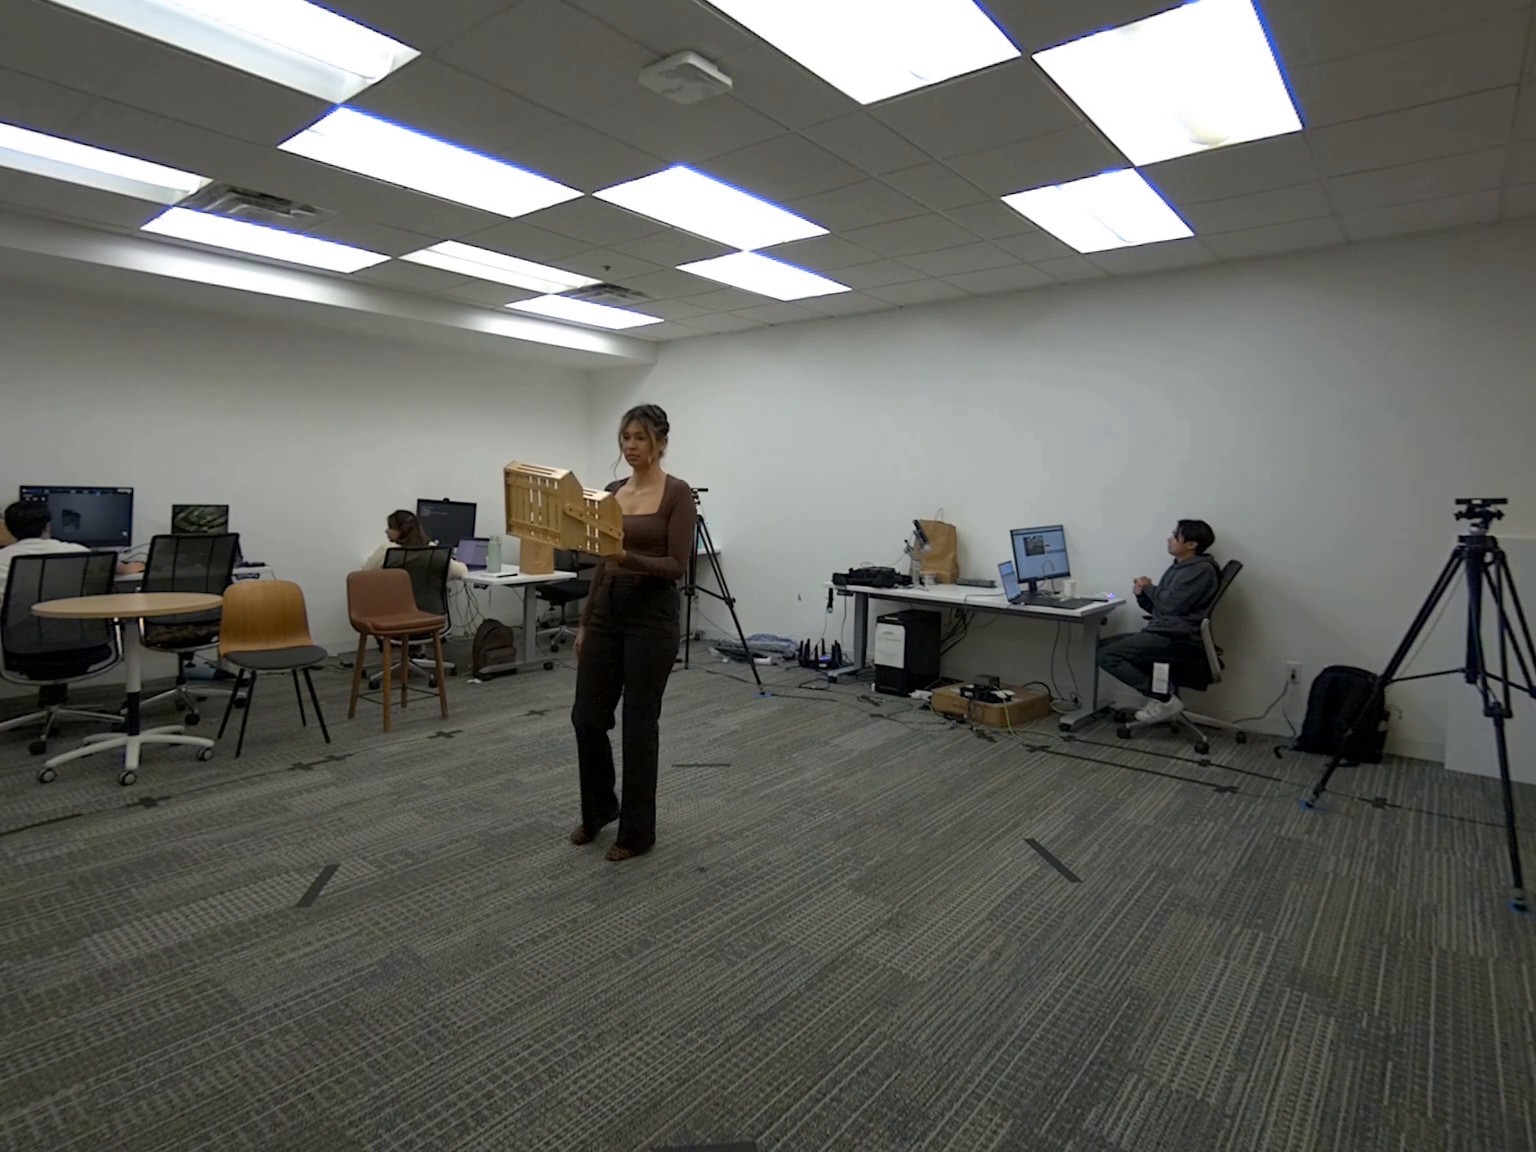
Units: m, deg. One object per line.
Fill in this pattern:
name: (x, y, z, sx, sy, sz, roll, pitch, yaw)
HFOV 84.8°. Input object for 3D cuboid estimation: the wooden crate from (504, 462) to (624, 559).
wooden crate: (-0.699, -0.236, 2.872, 0.336, 0.298, 0.267, 13, 18, 37)
